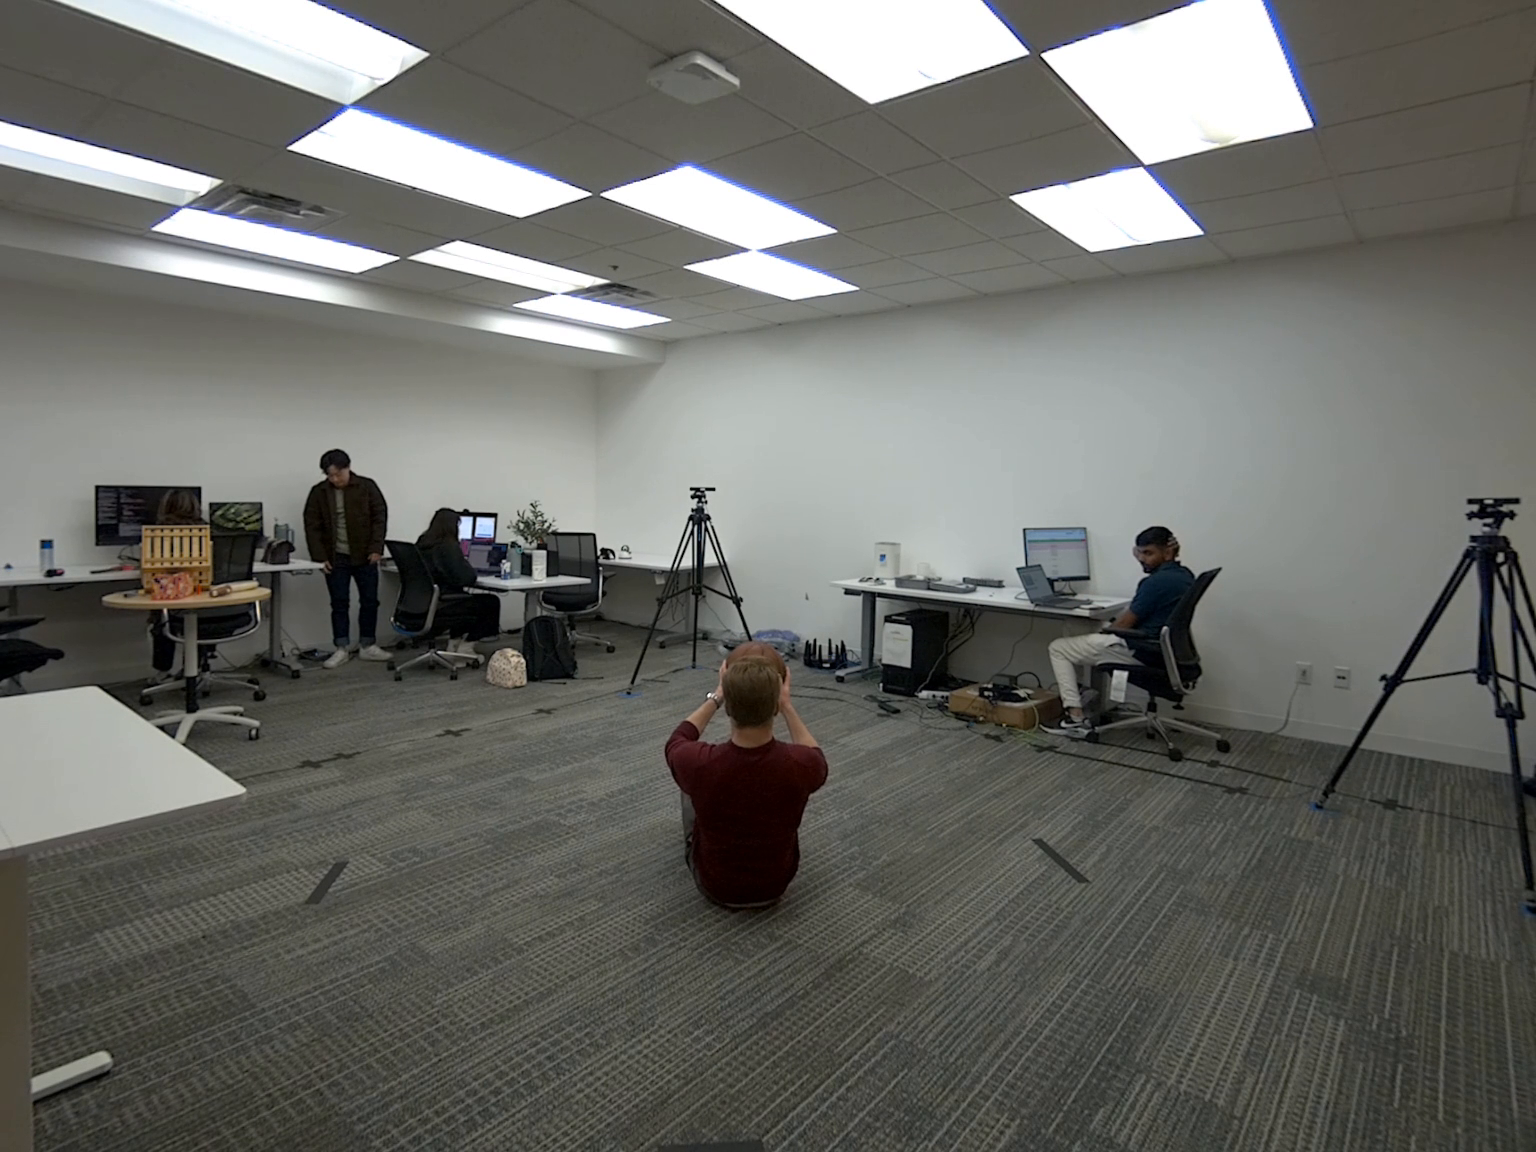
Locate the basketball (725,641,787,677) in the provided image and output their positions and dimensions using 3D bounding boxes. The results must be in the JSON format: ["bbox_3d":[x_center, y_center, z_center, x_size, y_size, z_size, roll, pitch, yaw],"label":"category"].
[{"bbox_3d":[-0.050,0.367,3.265,0.235,0.235,0.237,1,4,-2],"label":"basketball"}]
